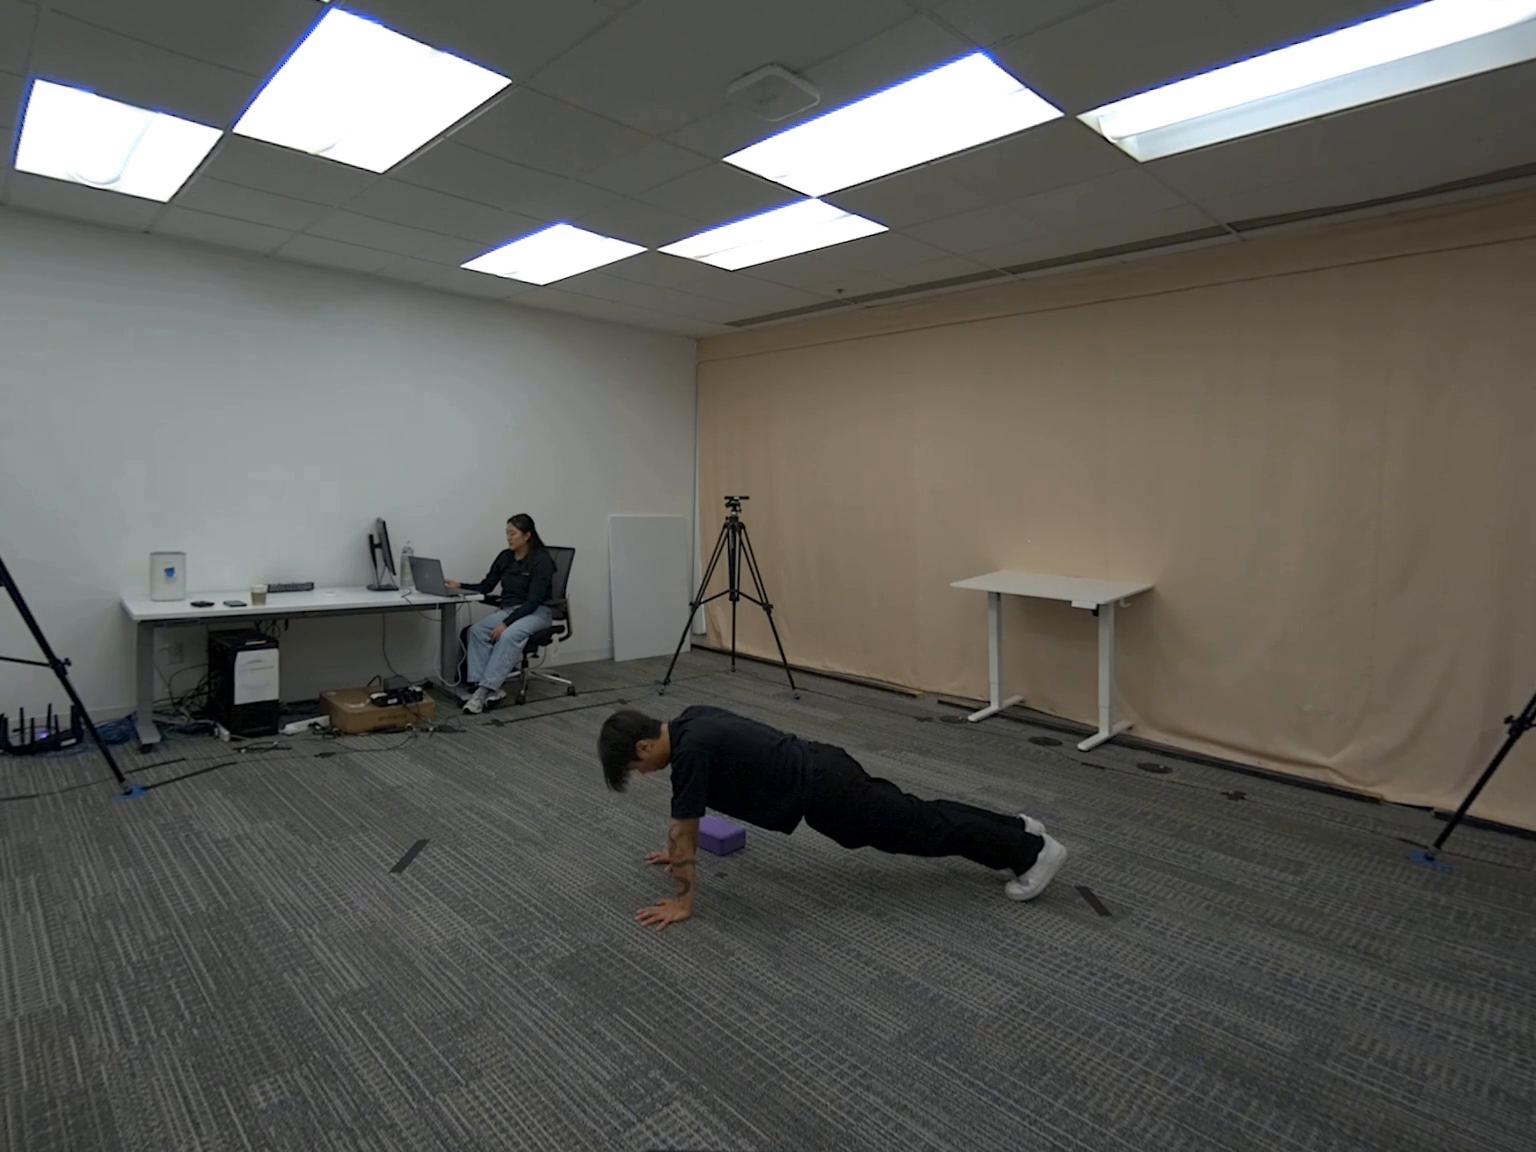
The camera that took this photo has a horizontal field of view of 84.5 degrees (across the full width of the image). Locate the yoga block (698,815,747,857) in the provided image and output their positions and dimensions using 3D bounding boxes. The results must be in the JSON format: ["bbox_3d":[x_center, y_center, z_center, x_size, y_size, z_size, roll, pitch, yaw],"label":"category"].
[{"bbox_3d":[-0.225,1.036,3.383,0.235,0.076,0.145,6,6,41],"label":"yoga block"}]
